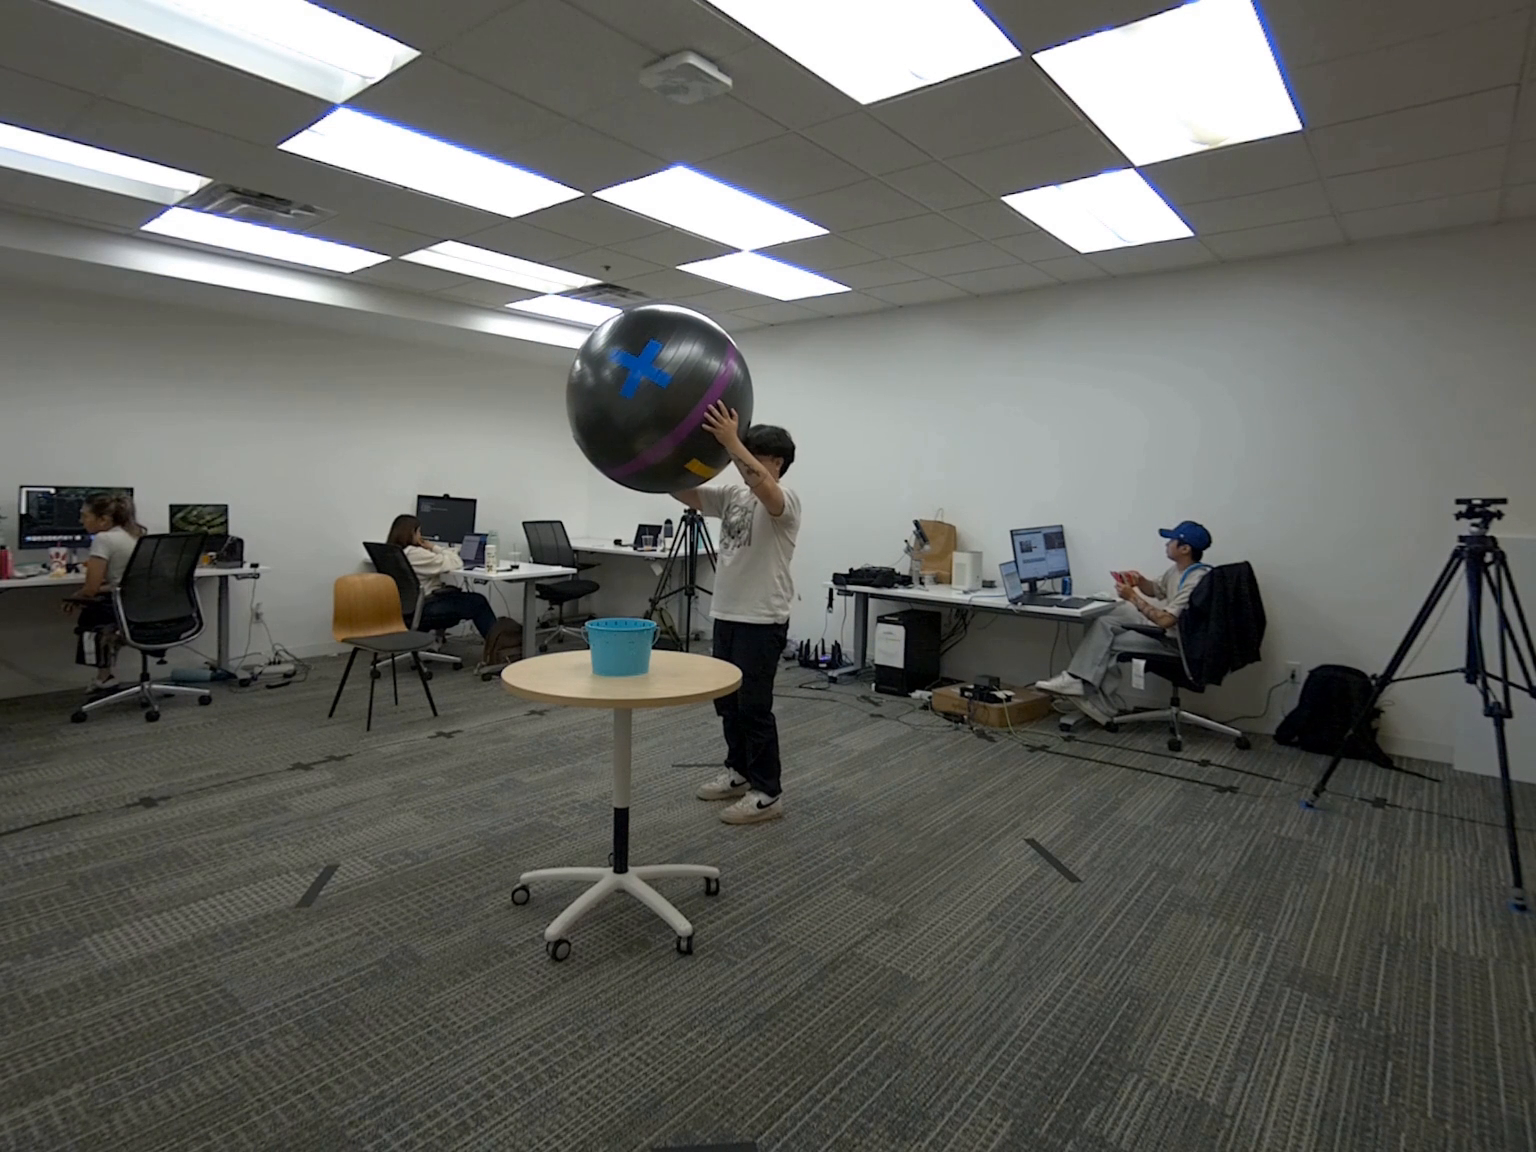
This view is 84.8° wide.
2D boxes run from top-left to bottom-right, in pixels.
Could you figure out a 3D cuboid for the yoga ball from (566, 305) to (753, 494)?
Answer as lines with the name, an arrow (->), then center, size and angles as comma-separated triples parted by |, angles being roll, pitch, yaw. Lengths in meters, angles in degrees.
yoga ball -> -0.448, -0.707, 3.454 | 0.757, 0.755, 0.762 | 1, 4, -2
